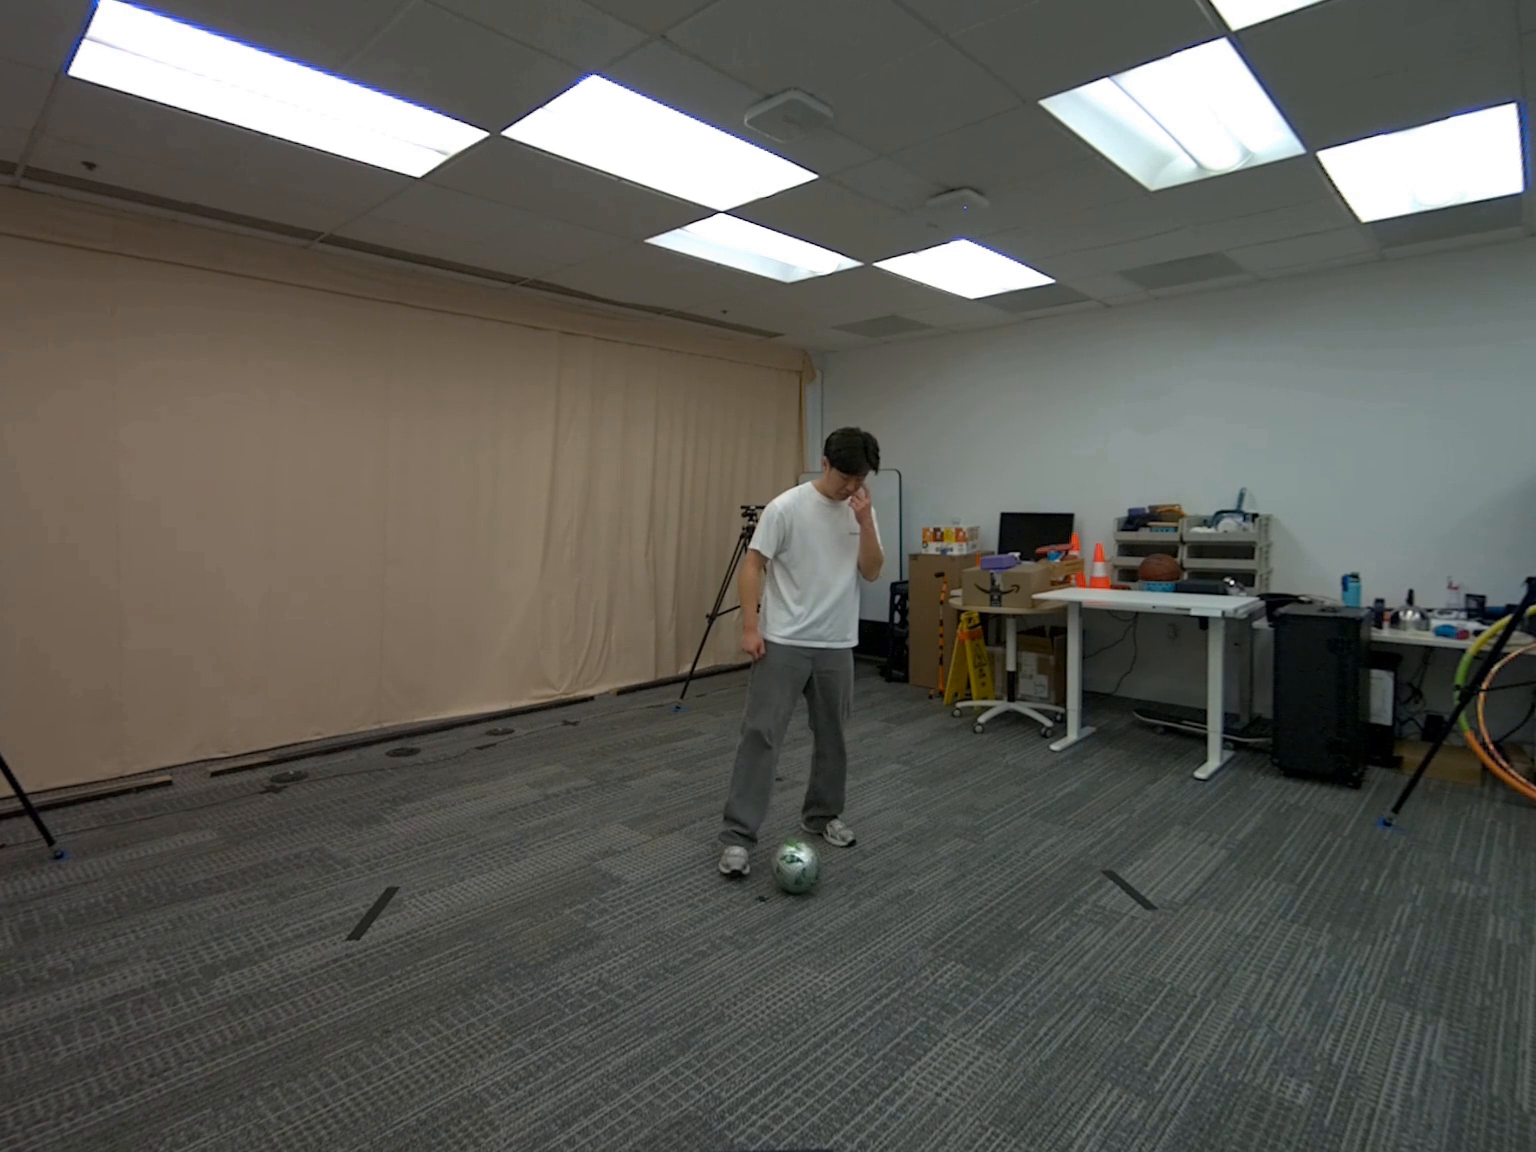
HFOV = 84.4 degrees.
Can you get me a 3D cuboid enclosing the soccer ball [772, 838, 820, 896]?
[{"bbox_3d":[0.114,1.047,3.037,0.187,0.187,0.188,0,4,-2],"label":"soccer ball"}]
